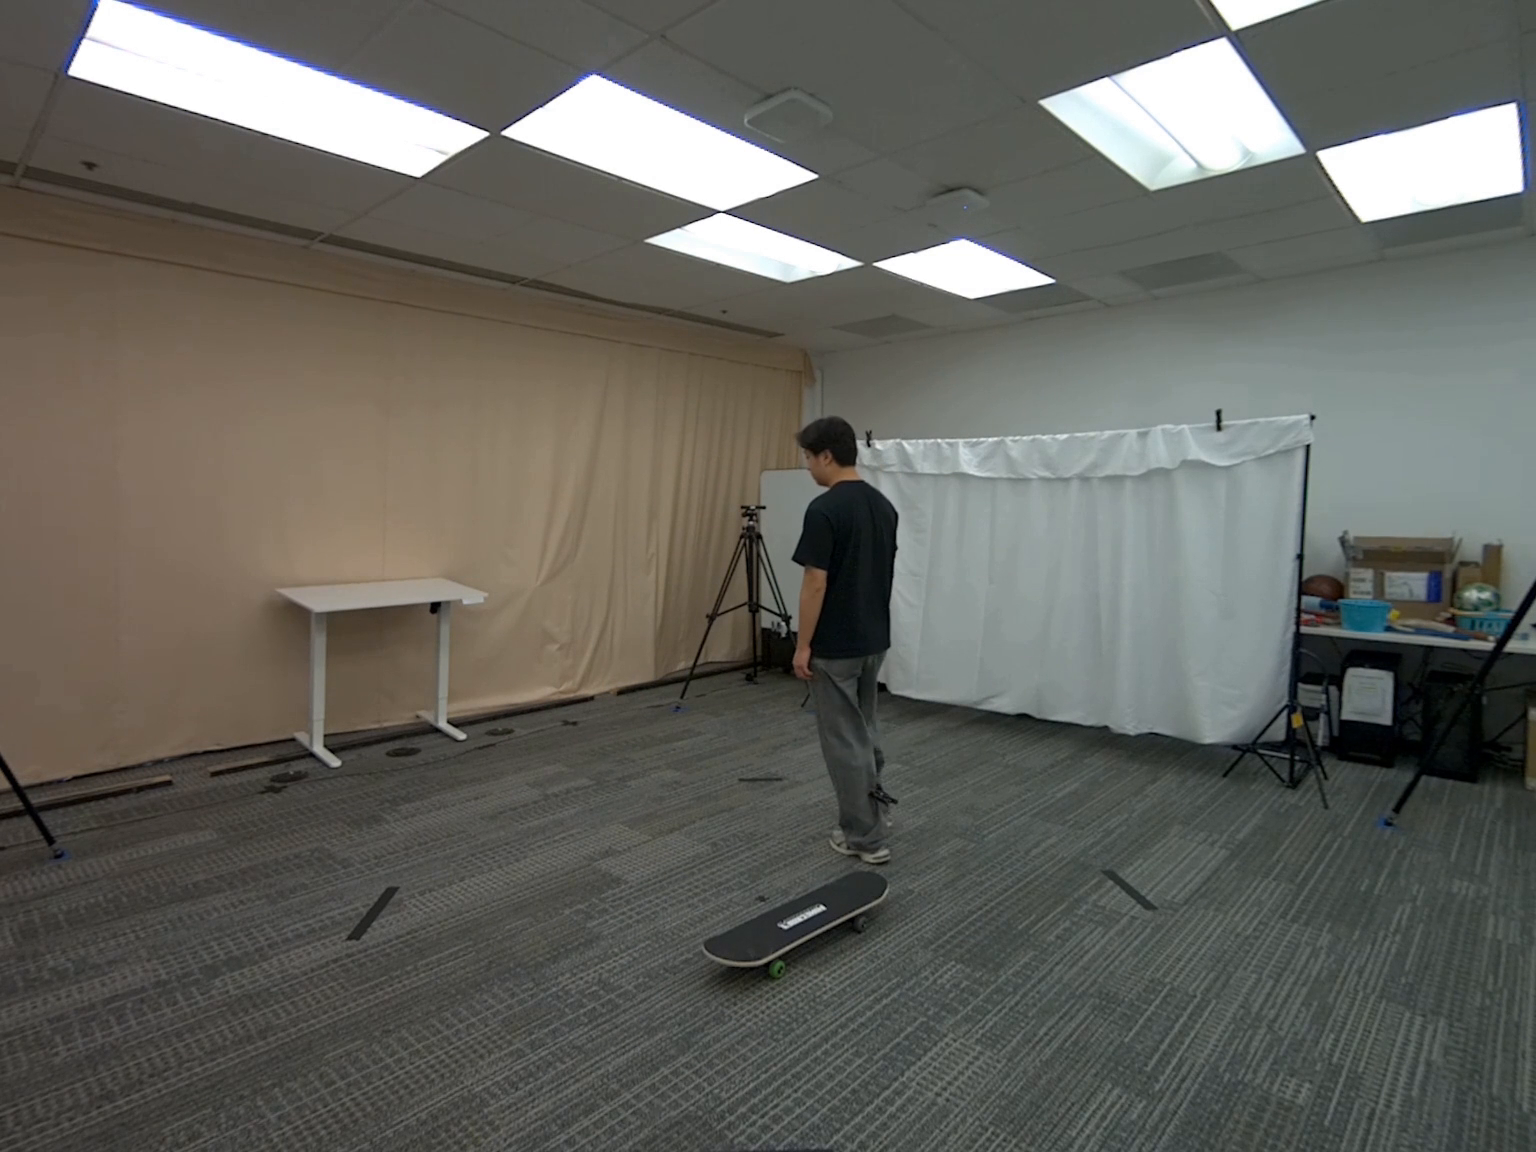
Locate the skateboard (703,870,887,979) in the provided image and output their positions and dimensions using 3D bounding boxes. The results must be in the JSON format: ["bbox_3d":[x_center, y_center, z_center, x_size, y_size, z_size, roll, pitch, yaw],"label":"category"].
[{"bbox_3d":[0.111,1.119,2.668,0.761,0.110,0.200,-4,5,-44],"label":"skateboard"}]
